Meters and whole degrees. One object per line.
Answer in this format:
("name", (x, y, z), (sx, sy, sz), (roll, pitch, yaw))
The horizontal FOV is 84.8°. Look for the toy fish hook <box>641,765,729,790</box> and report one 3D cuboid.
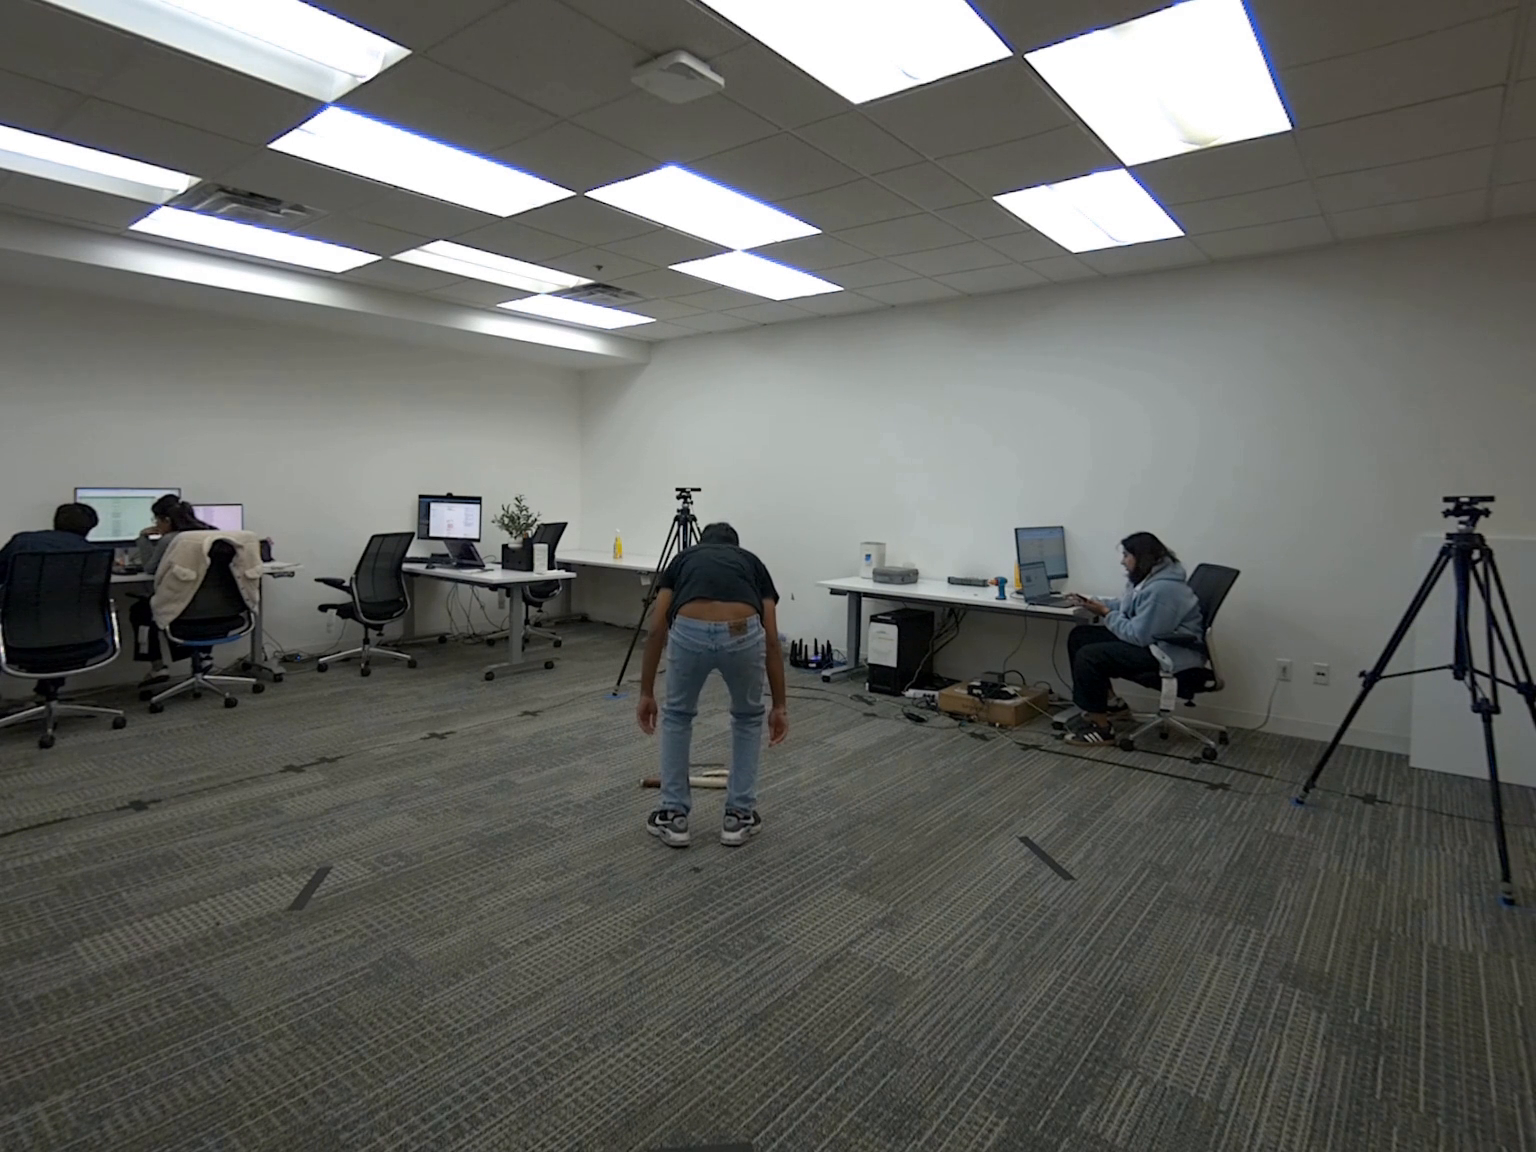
("toy fish hook", (-0.375, 0.961, 4.043), (0.503, 0.048, 0.225), (1, -2, -7))
